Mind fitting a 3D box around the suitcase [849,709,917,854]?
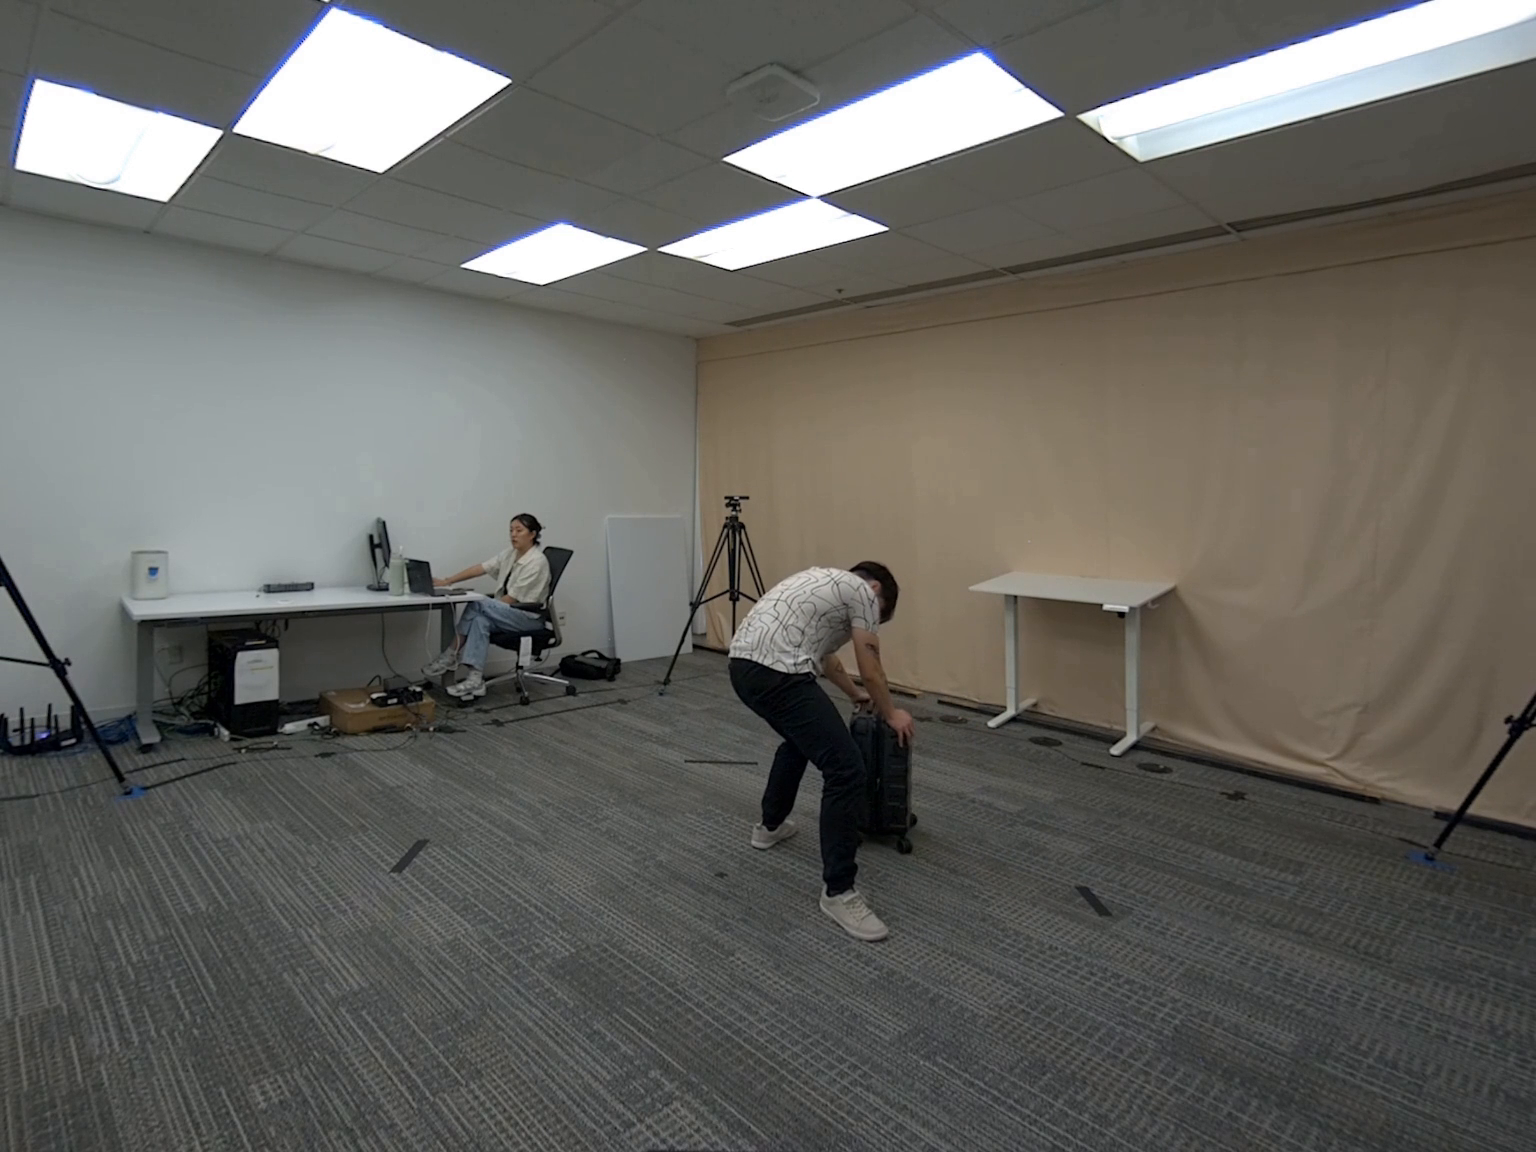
[{"bbox_3d":[0.471,0.809,3.520,0.251,0.548,0.372,2,3,14],"label":"suitcase"}]
